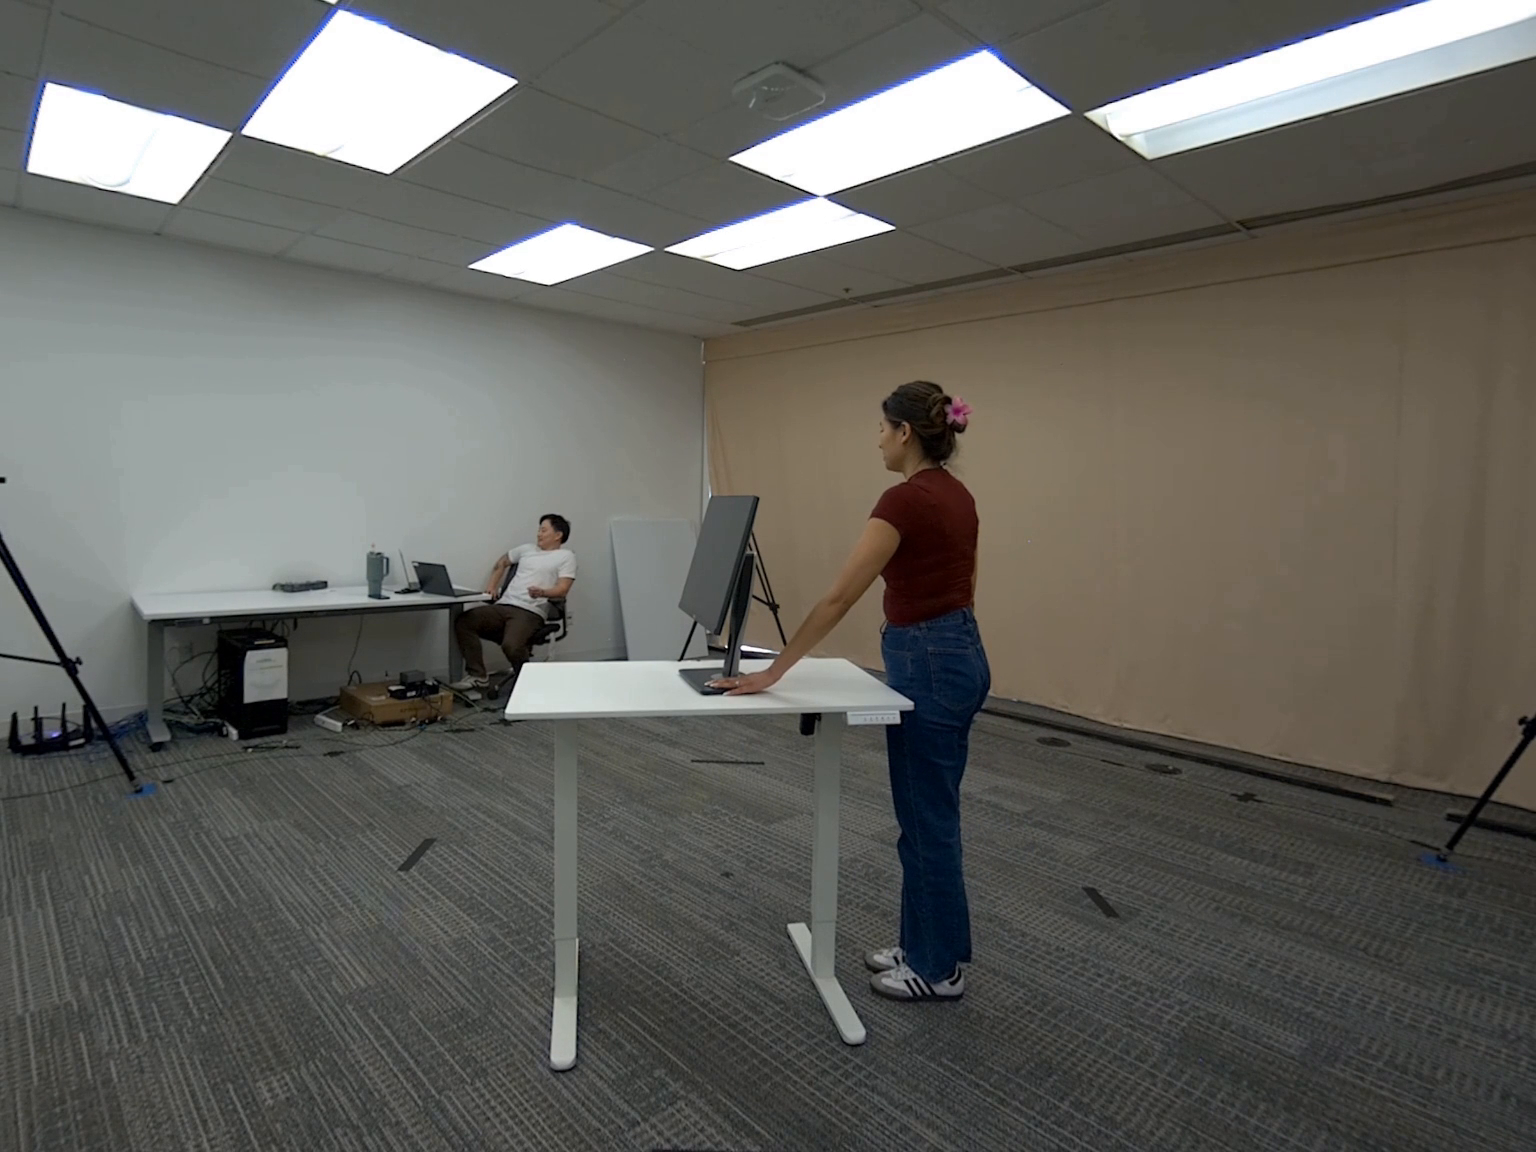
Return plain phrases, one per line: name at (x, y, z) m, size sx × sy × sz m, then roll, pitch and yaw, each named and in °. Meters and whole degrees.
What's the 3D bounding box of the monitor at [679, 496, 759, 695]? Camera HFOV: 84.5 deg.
monitor at (-0.118, 0.041, 2.297) m, size 0.184 × 0.522 × 0.547 m, roll 2°, pitch 3°, yaw -17°
